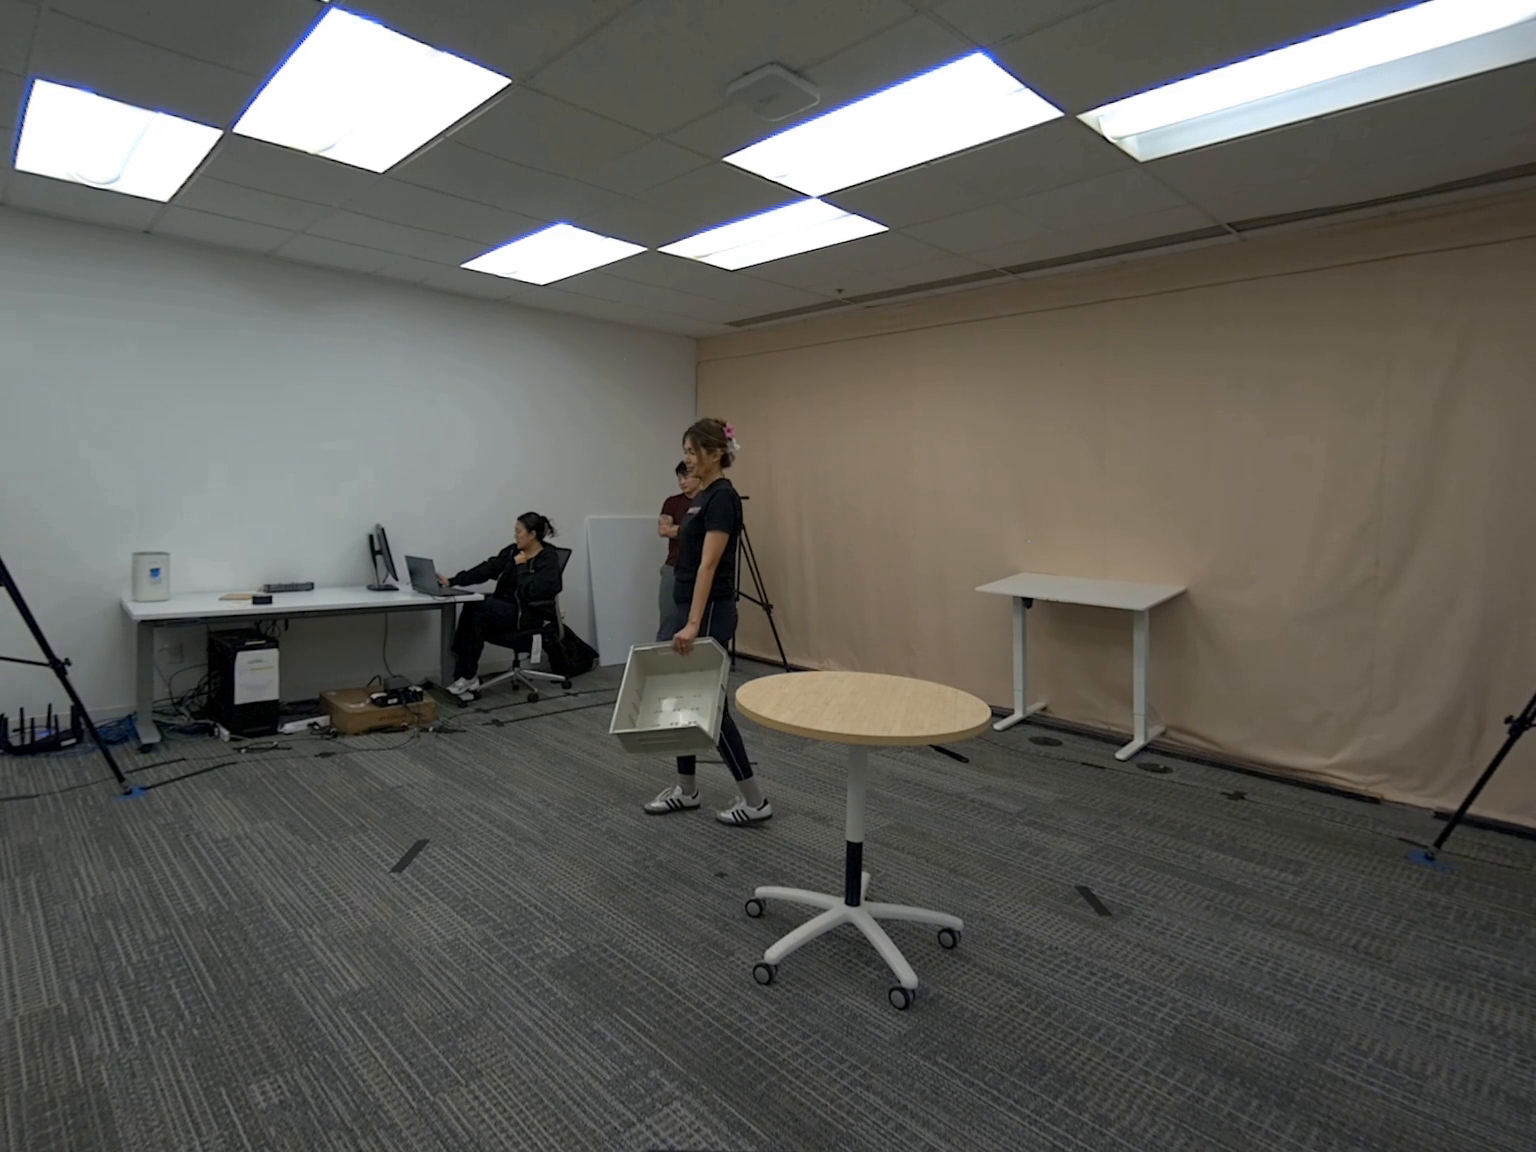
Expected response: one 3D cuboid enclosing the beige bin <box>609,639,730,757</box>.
[{"bbox_3d":[-0.368,0.471,3.242,0.381,0.183,0.430,-8,43,16],"label":"beige bin"}]
